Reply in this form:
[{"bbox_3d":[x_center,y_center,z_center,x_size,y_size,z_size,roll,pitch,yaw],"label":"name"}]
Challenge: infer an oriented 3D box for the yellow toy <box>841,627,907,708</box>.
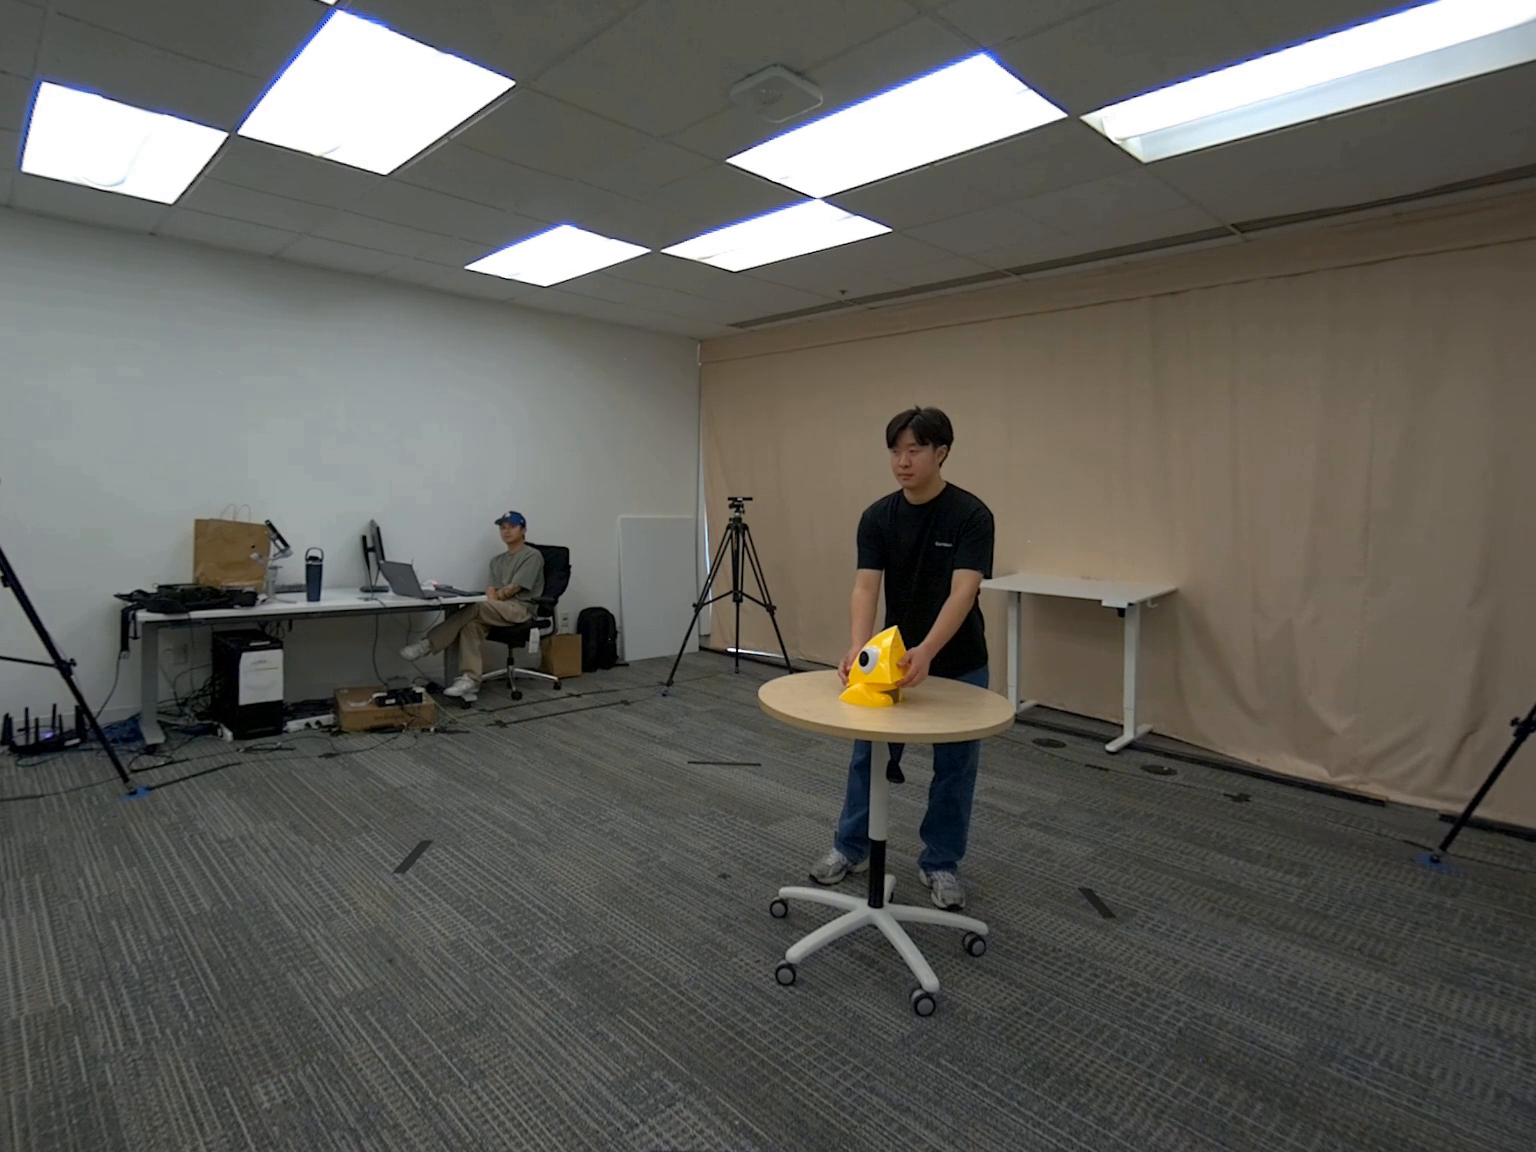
[{"bbox_3d":[0.325,0.261,2.535,0.197,0.230,0.201,5,4,30],"label":"yellow toy"}]
